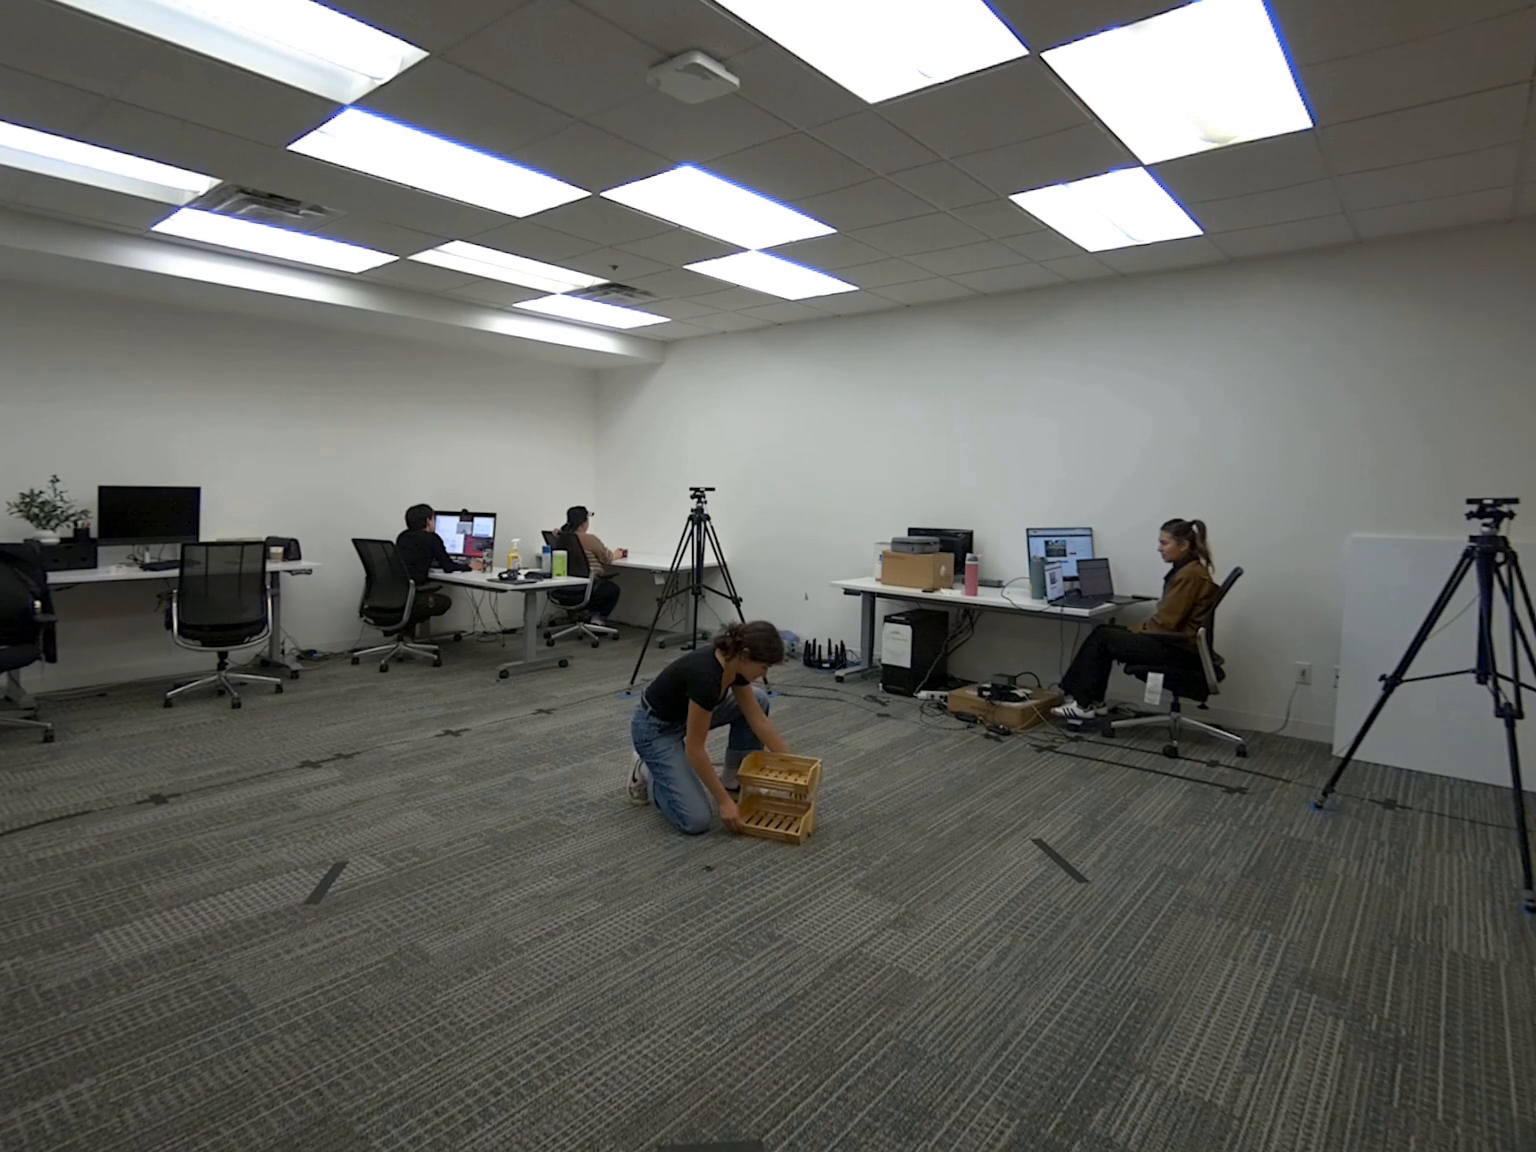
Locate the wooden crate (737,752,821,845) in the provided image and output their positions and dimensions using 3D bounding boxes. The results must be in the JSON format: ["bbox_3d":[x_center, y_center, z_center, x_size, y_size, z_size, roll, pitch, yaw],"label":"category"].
[{"bbox_3d":[0.025,0.897,3.503,0.332,0.272,0.296,3,4,21],"label":"wooden crate"}]
